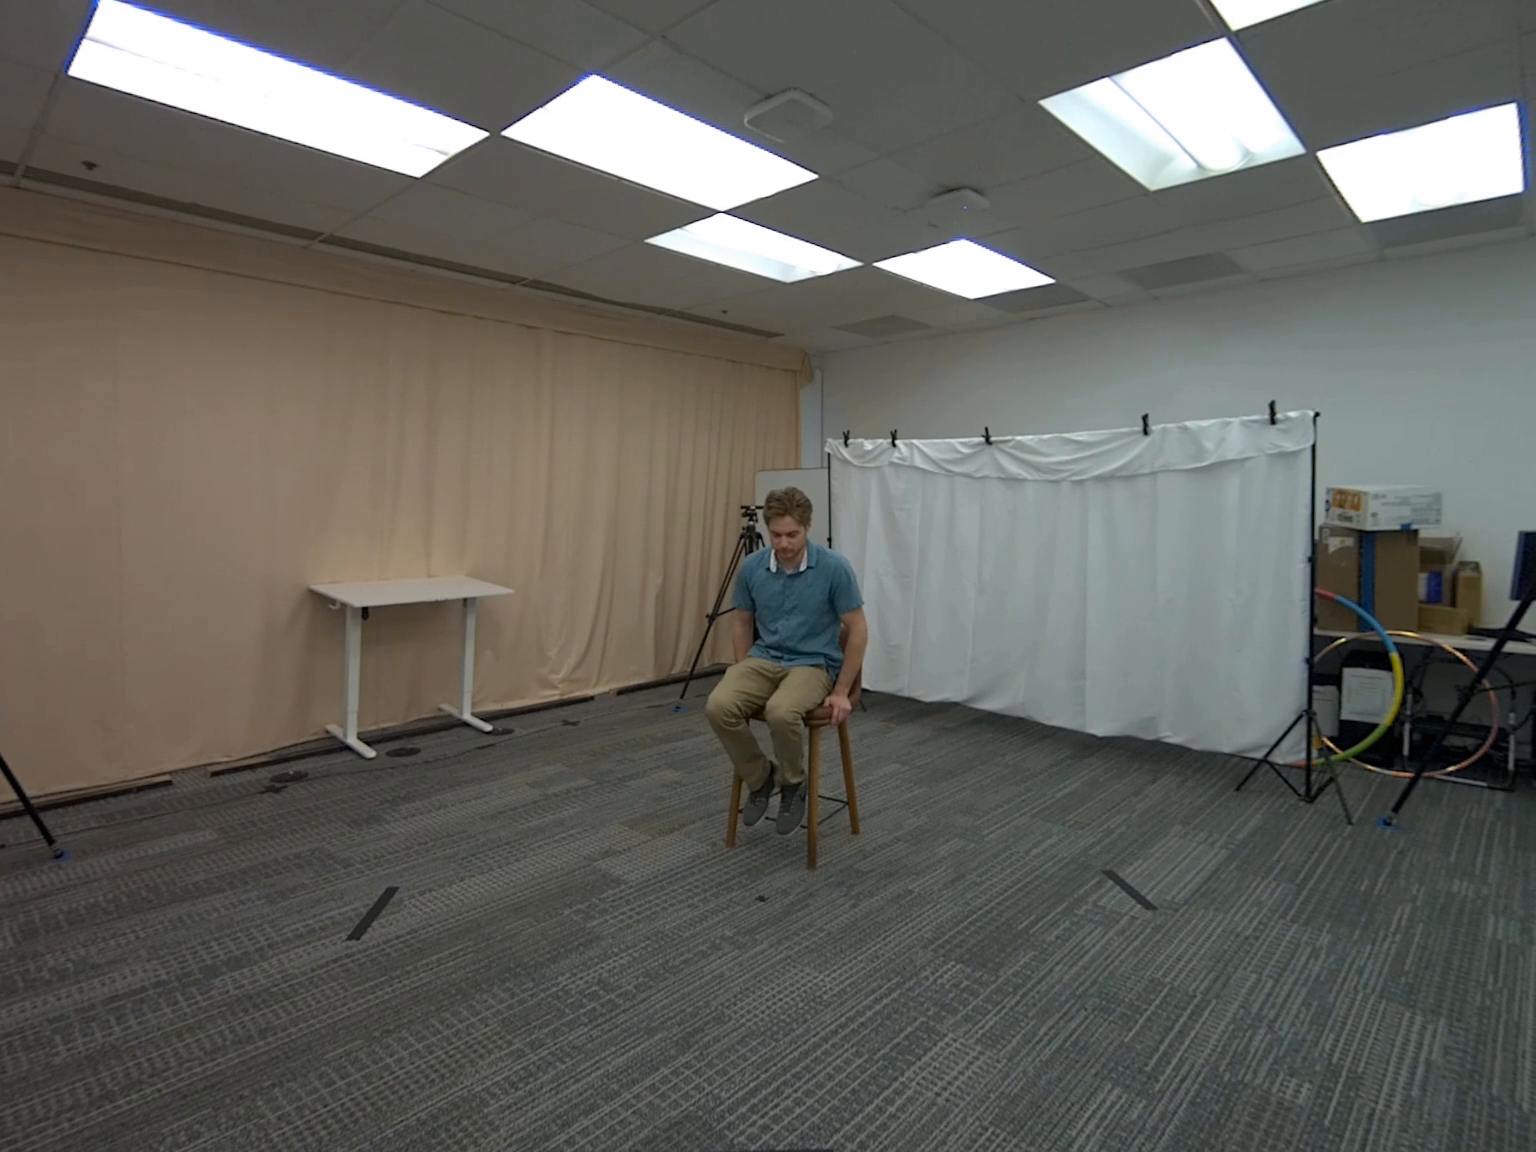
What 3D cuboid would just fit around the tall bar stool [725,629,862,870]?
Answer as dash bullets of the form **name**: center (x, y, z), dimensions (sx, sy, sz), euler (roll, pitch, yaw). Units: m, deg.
- **tall bar stool**: center (0.129, 0.664, 3.494), dimensions (0.471, 0.889, 0.454), euler (3, 2, 33)
